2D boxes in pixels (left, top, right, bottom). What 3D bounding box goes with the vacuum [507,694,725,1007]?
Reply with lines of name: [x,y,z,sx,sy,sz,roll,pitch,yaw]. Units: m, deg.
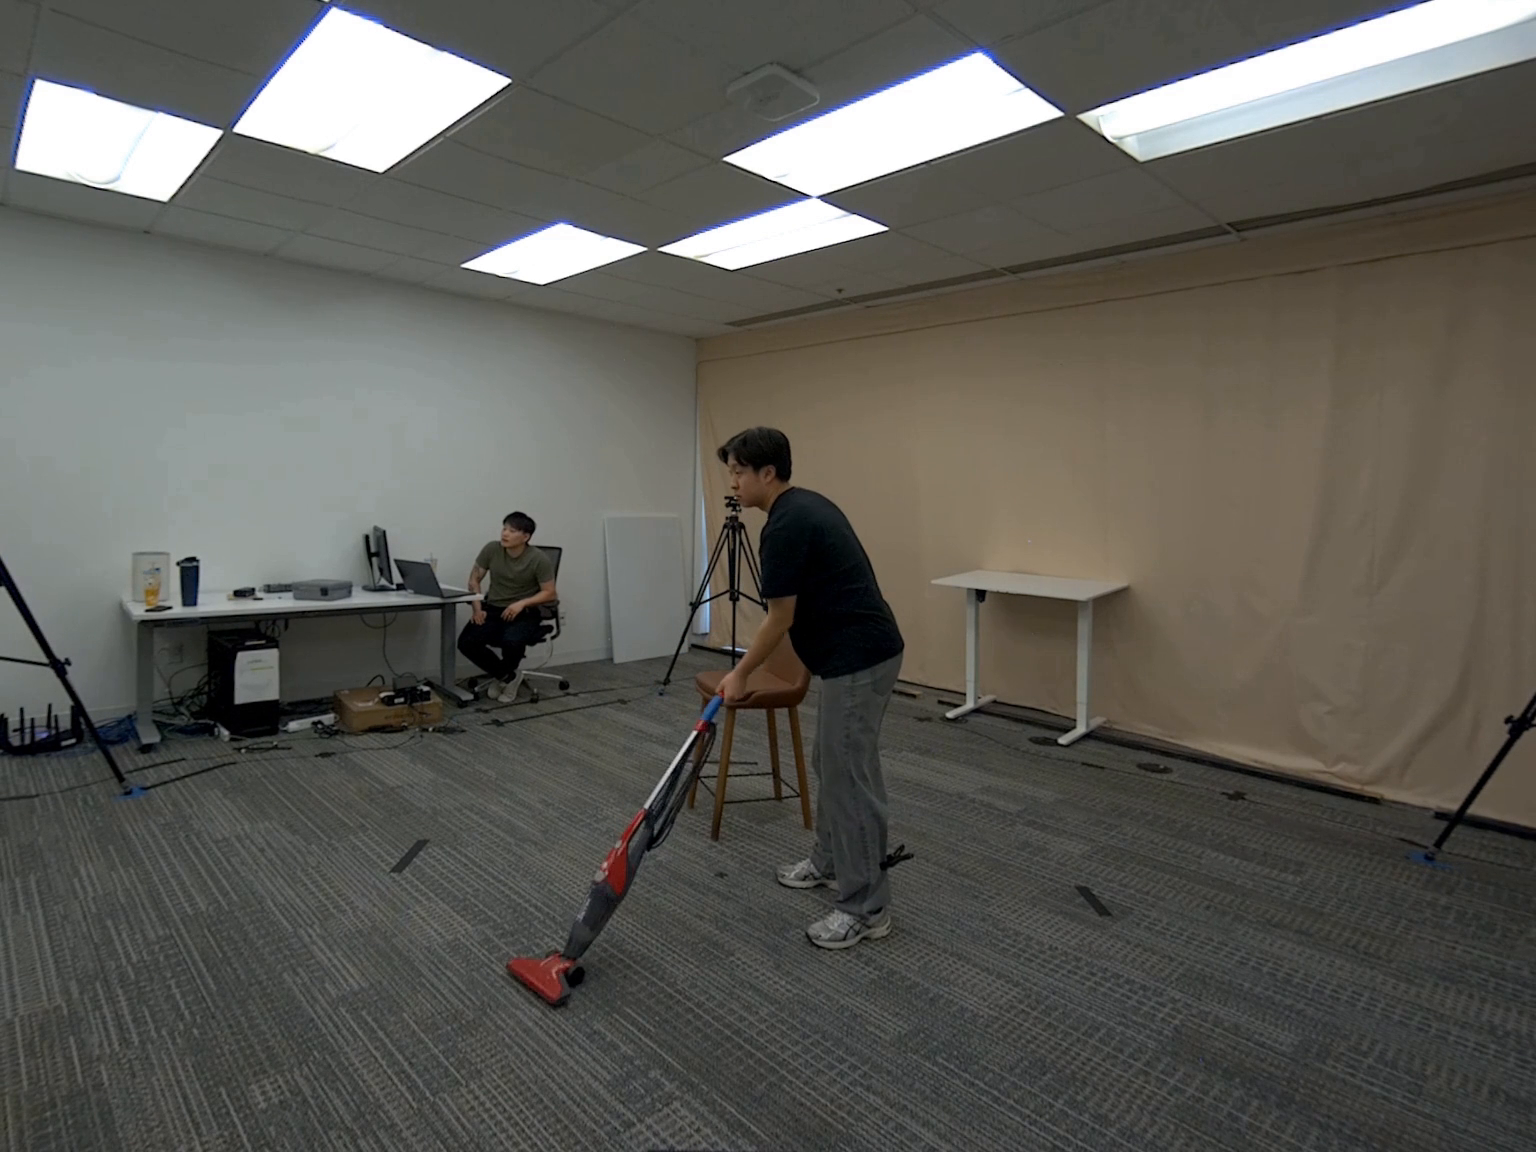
vacuum: [-0.365,0.764,2.628,0.259,1.053,0.139,11,-35,39]
